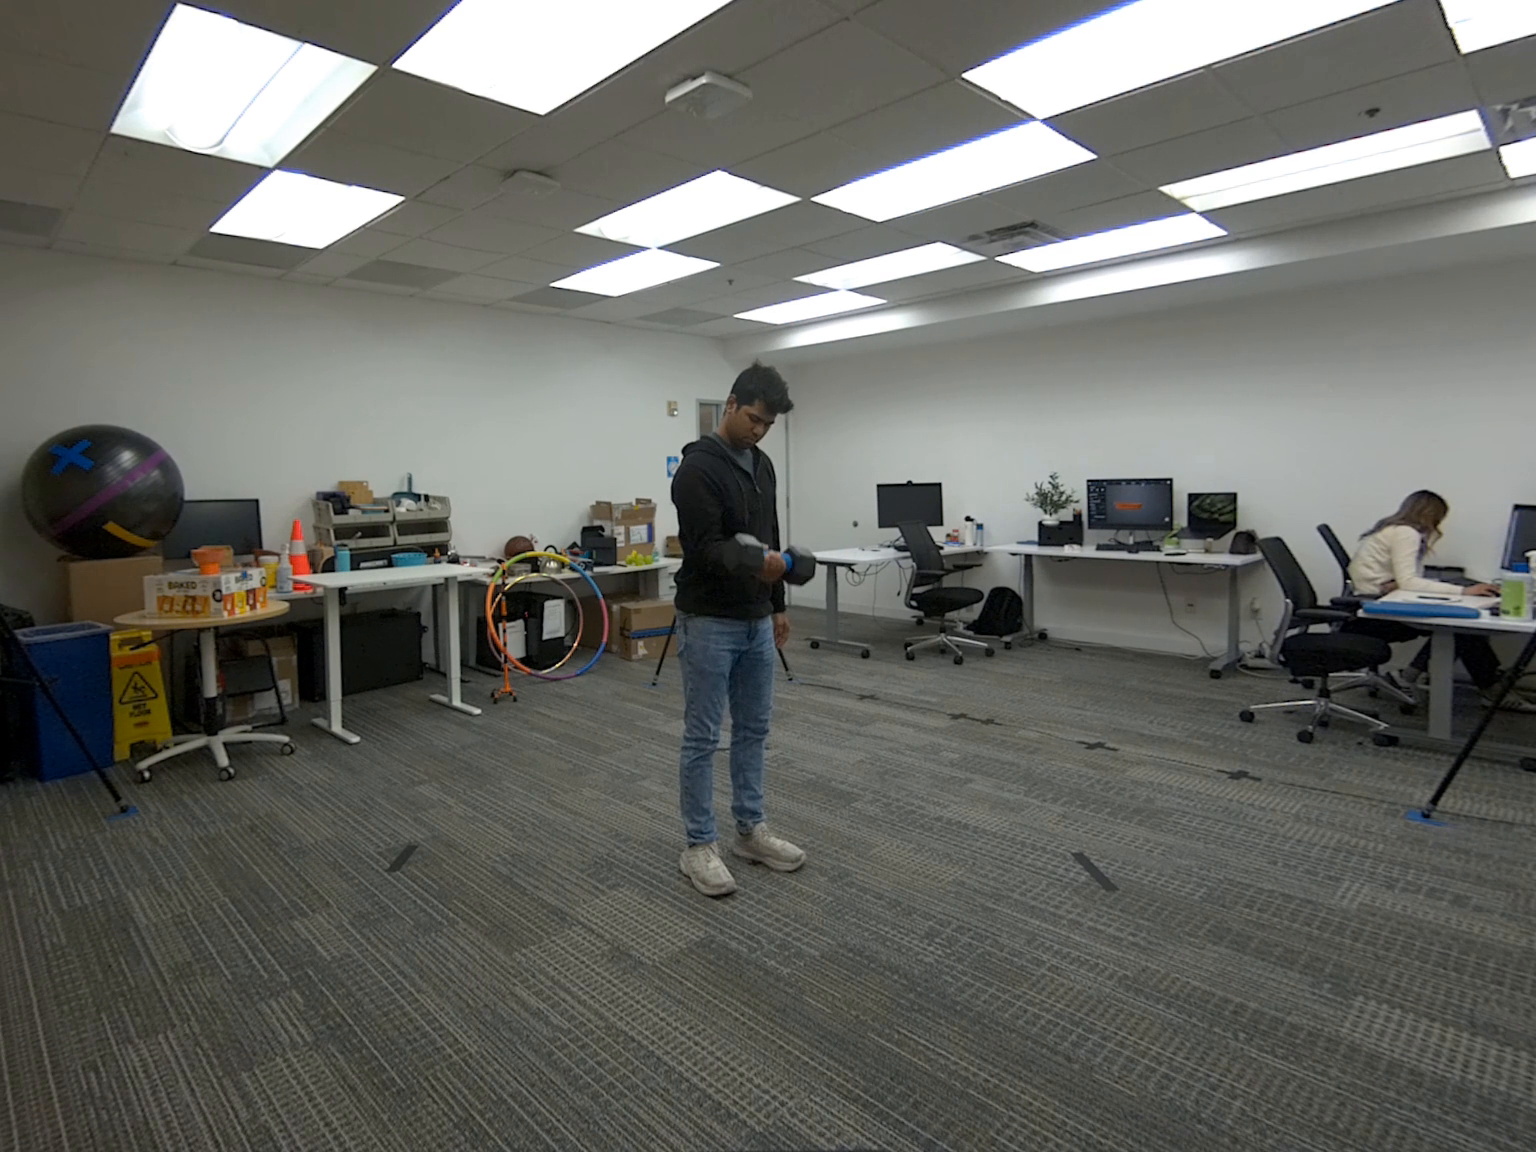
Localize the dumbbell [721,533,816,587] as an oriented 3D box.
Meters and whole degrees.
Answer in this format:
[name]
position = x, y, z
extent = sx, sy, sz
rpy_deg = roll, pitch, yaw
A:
[dumbbell]
position = -0.004, -0.046, 2.616
extent = 0.284, 0.108, 0.128
rpy_deg = 10, 23, -35
